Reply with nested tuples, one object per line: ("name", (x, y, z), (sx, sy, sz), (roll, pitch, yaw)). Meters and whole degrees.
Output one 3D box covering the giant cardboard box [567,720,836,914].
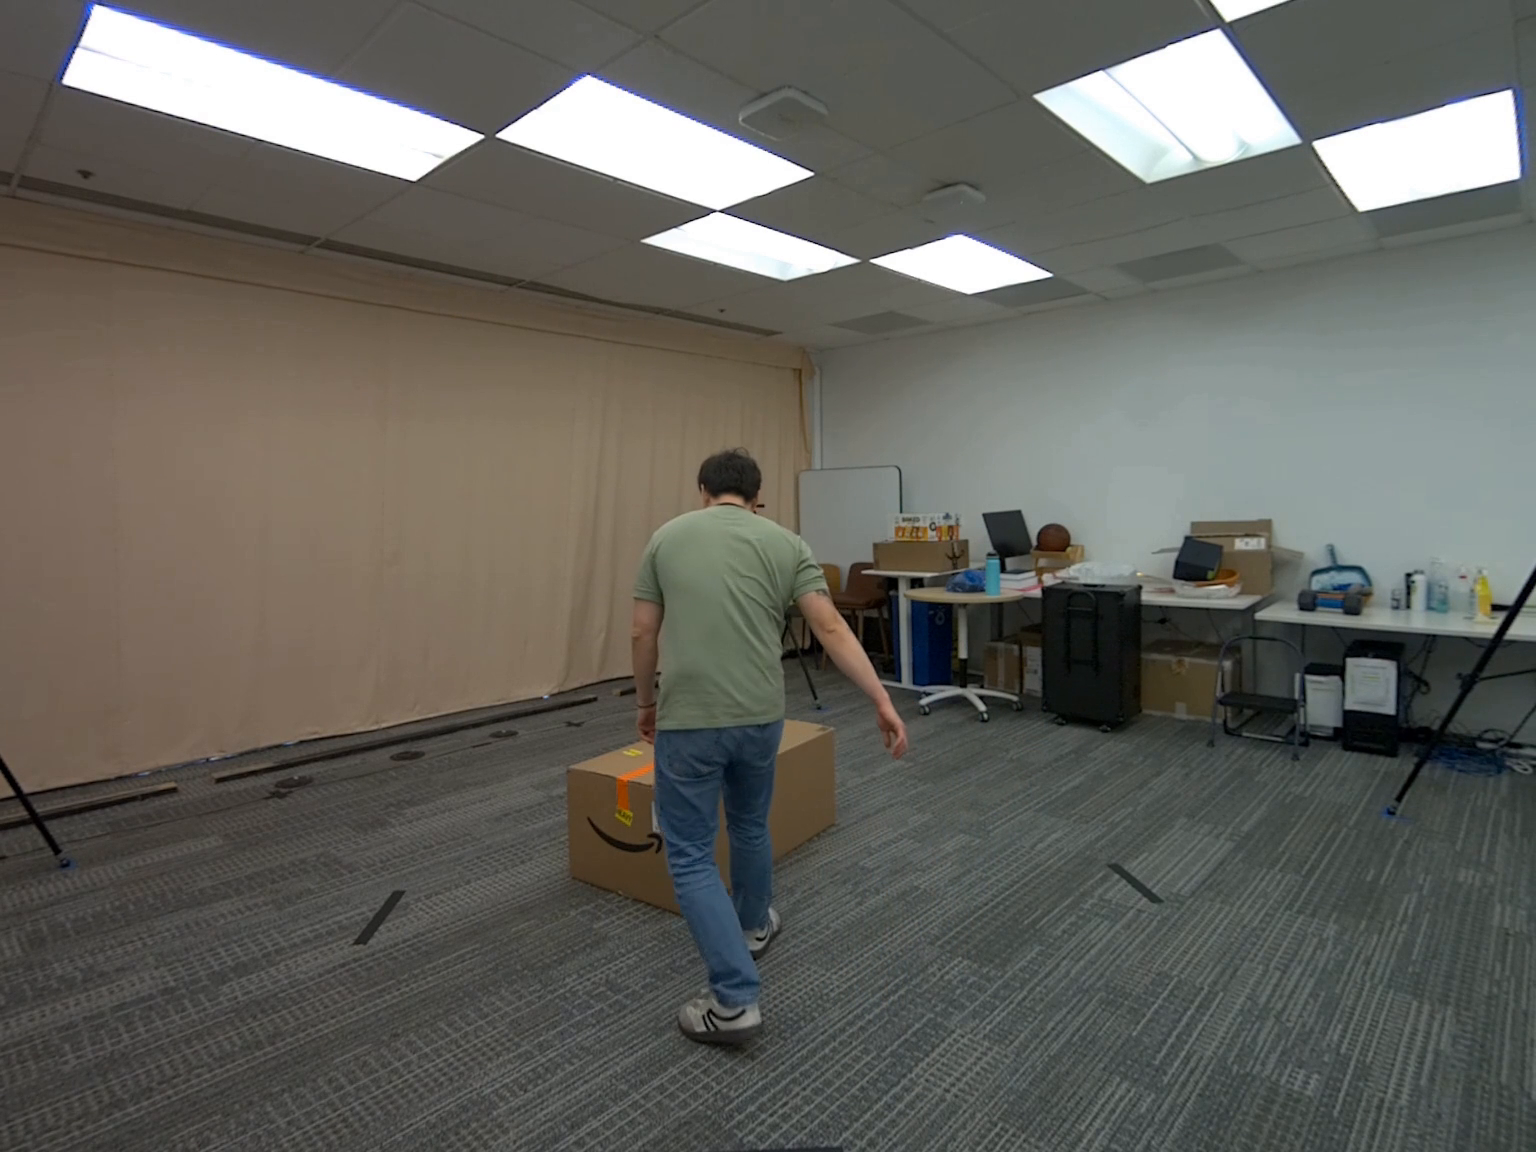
("giant cardboard box", (-0.228, 0.894, 3.404), (0.595, 0.425, 0.997), (1, 5, 35))
